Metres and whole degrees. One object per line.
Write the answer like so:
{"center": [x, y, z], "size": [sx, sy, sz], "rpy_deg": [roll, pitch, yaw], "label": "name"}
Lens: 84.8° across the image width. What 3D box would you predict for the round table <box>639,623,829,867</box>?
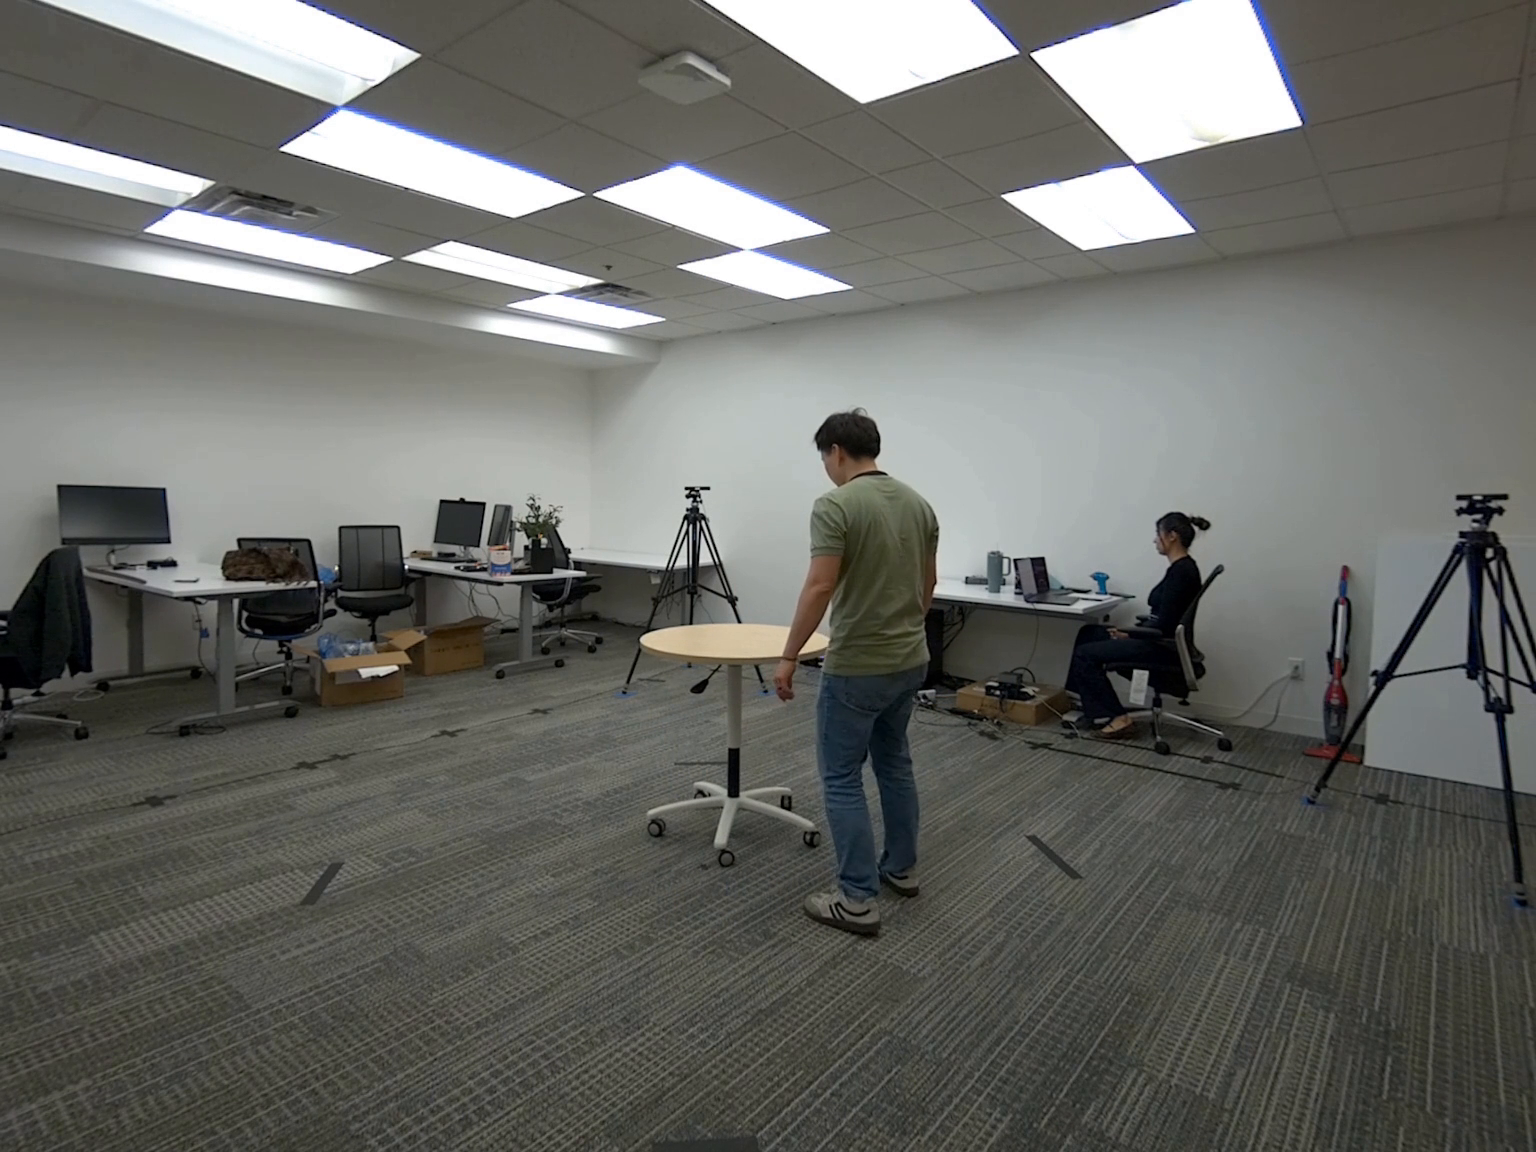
{"center": [-0.143, 0.643, 3.449], "size": [0.763, 0.791, 0.768], "rpy_deg": [1, 4, -2], "label": "round table"}
